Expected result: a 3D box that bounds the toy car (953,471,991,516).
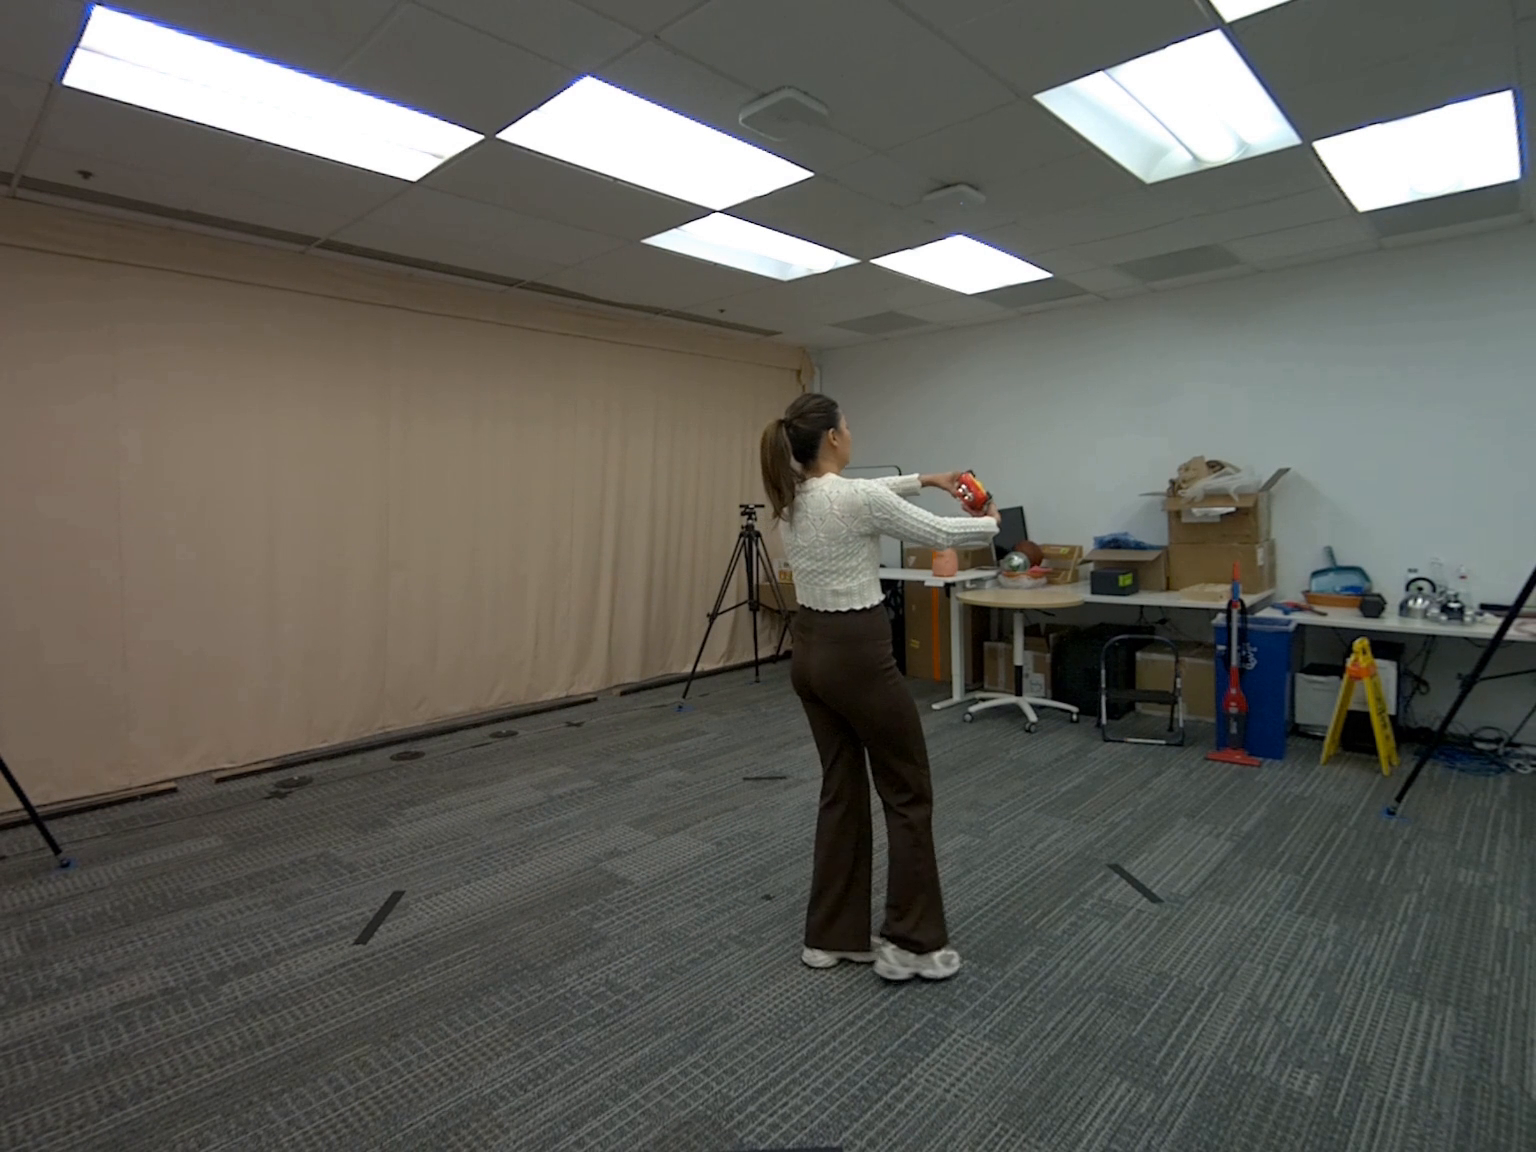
[{"bbox_3d":[0.676,-0.267,2.721,0.084,0.132,0.249,-38,-11,12],"label":"toy car"}]
